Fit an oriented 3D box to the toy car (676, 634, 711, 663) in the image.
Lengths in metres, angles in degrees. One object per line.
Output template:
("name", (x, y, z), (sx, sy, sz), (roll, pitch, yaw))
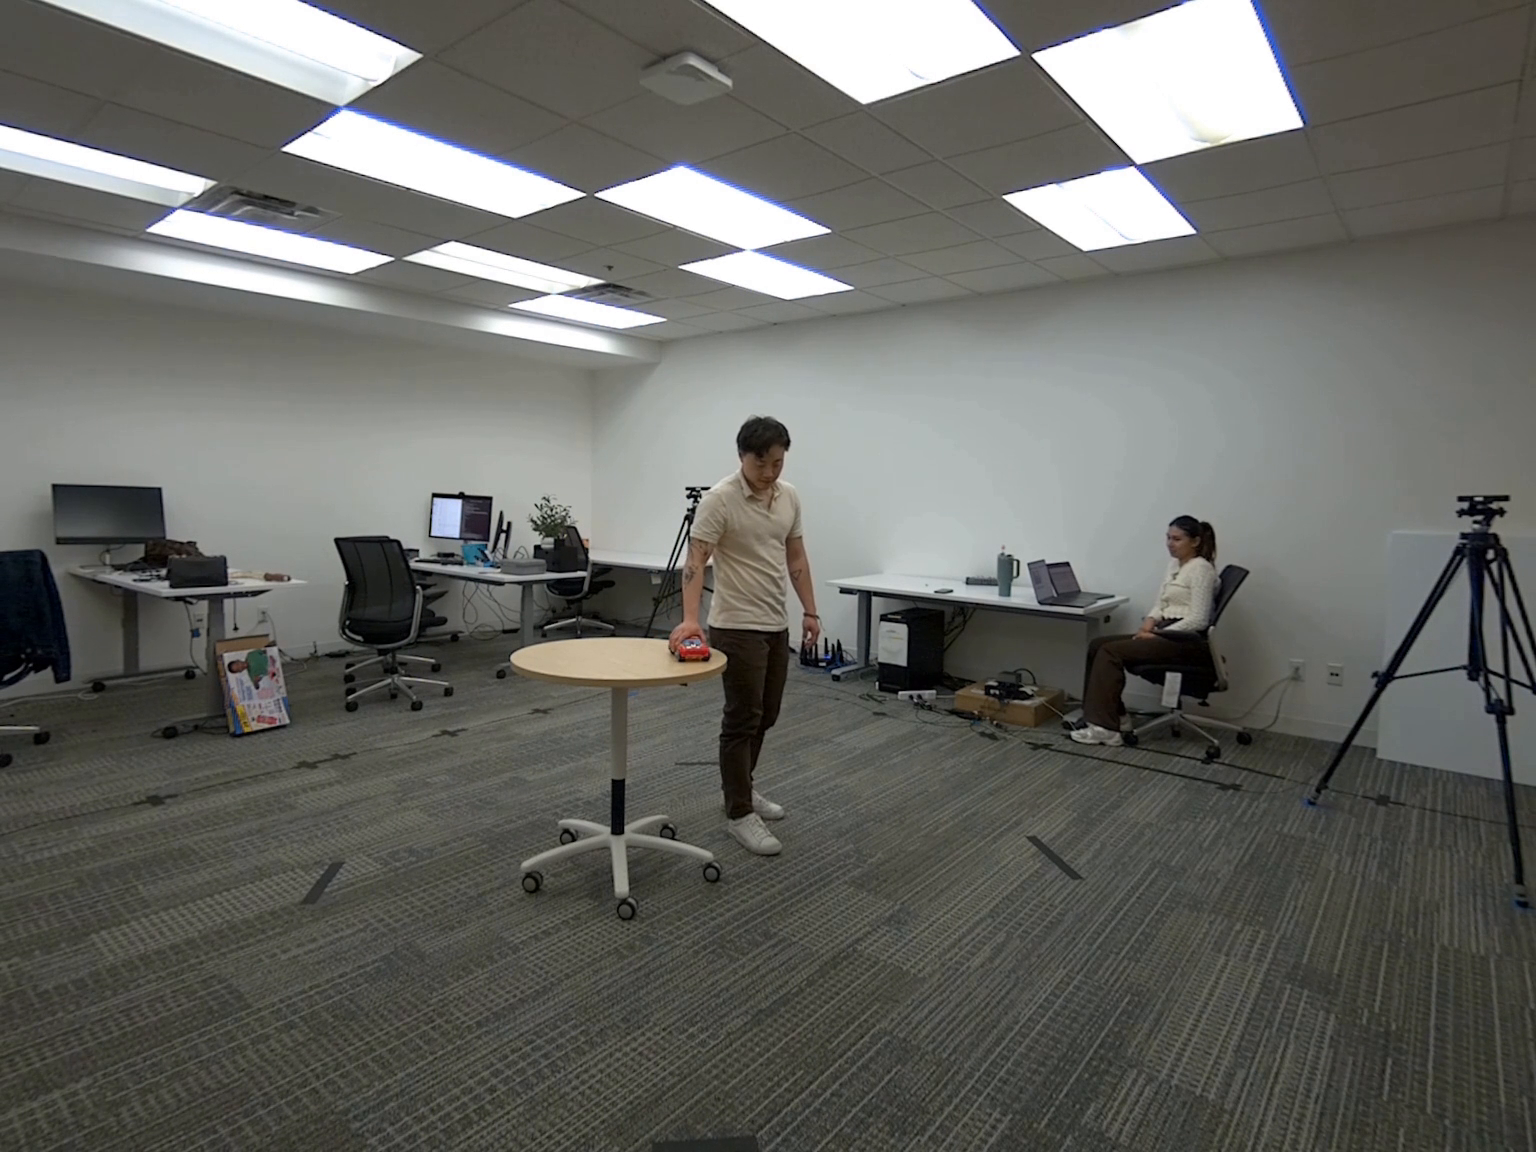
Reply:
("toy car", (-0.296, 0.254, 3.078), (0.128, 0.082, 0.261), (0, 16, -14))
